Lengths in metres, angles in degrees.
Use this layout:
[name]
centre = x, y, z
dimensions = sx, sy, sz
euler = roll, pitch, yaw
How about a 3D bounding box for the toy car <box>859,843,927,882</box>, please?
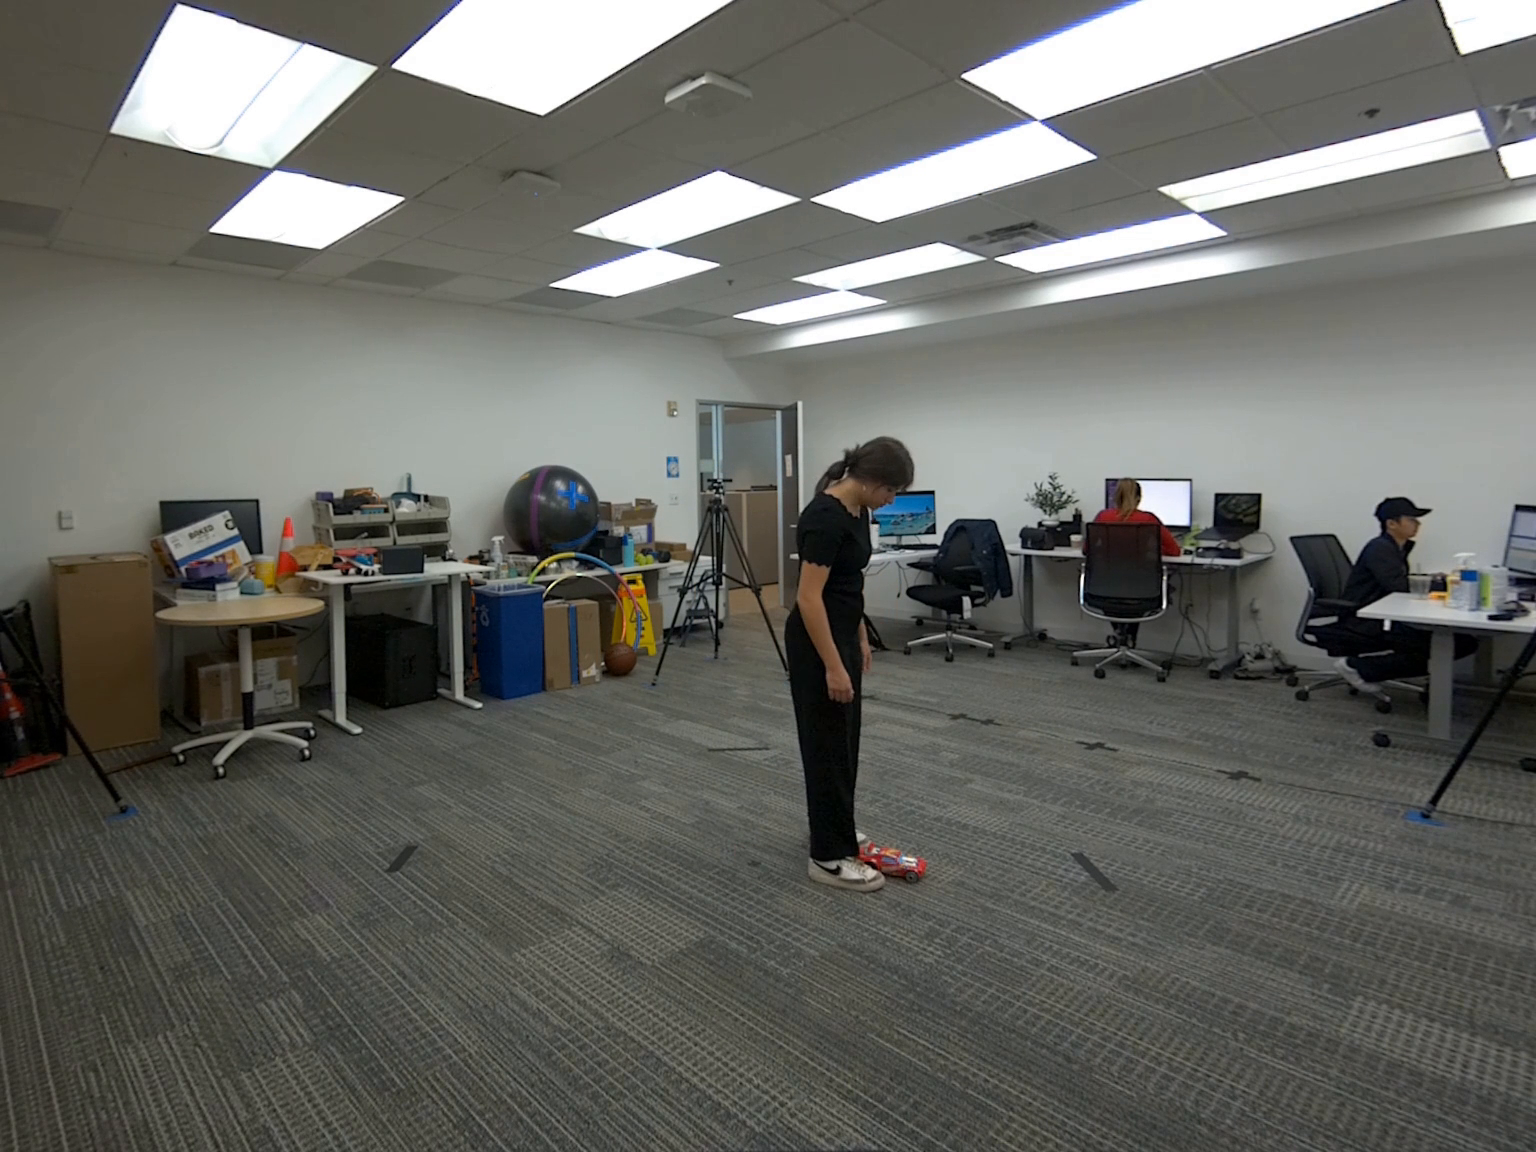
[toy car]
centre = 0.422, 1.011, 3.020
dimensions = 0.261, 0.083, 0.128
euler = 13, 10, 24
